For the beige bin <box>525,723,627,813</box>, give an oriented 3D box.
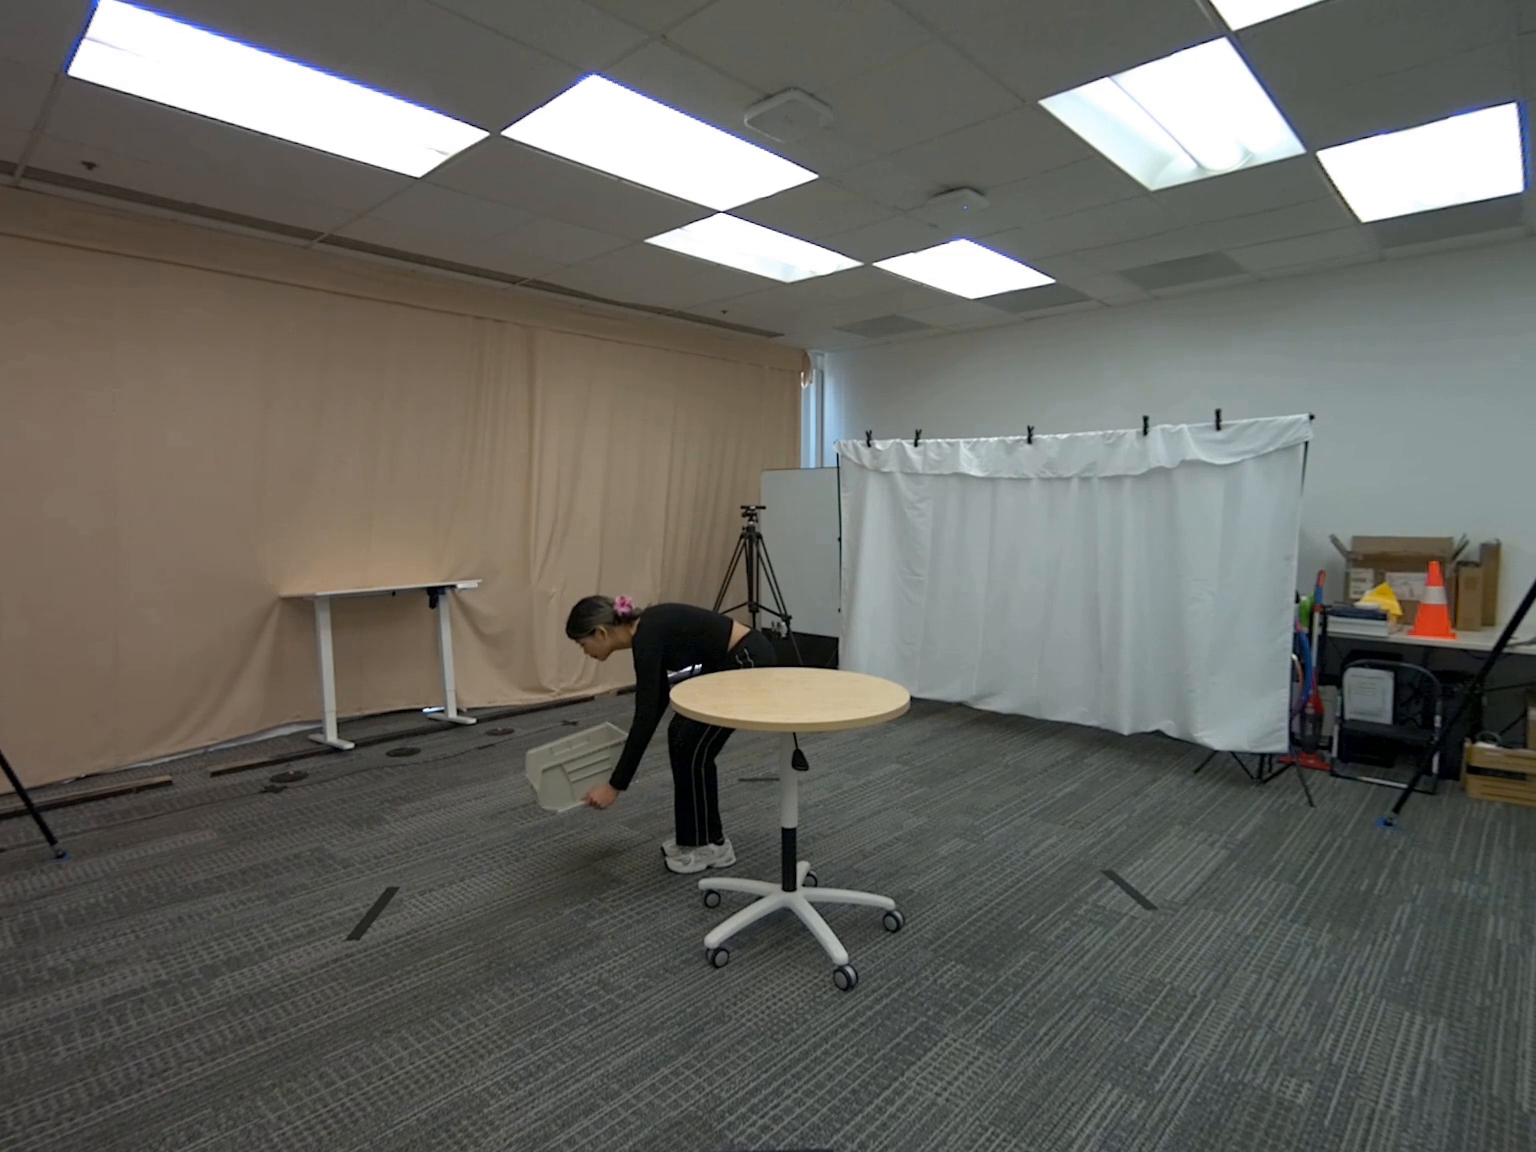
[{"bbox_3d":[-0.723,0.731,3.249,0.371,0.189,0.430,-16,3,-22],"label":"beige bin"}]
